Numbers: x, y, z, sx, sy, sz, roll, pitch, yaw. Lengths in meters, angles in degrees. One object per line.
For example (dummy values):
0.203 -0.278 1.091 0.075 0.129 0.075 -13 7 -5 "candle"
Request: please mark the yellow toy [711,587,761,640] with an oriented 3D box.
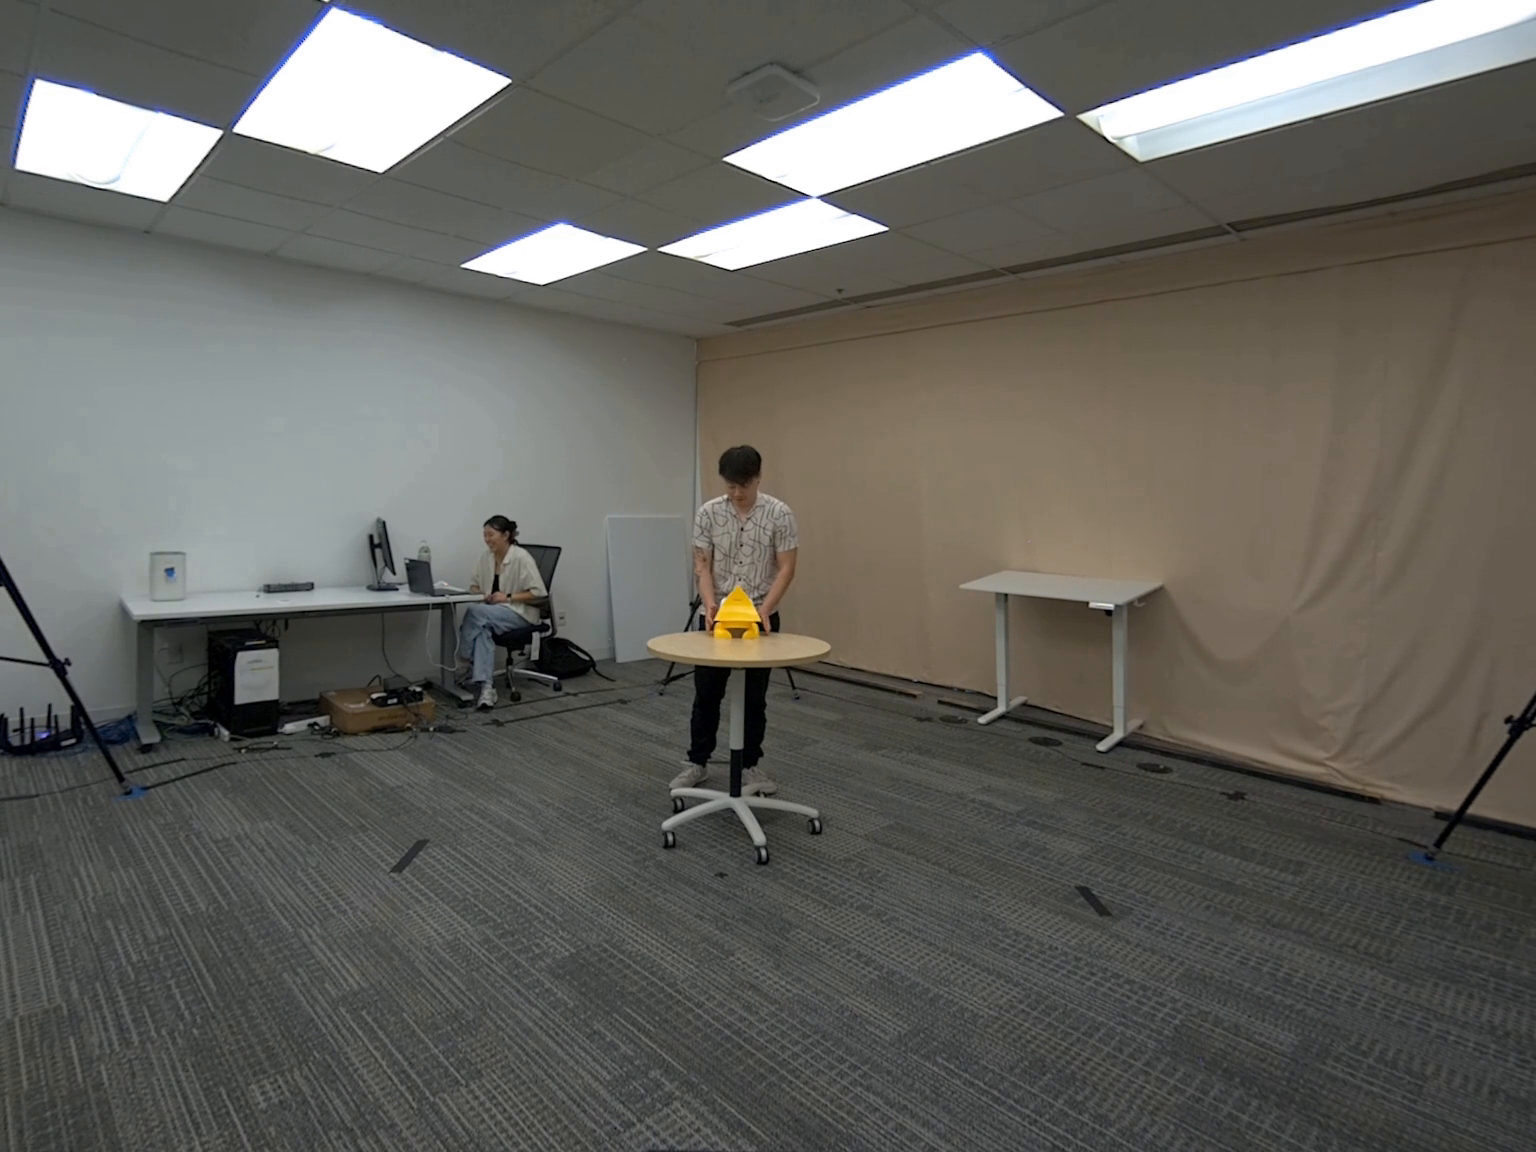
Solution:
-0.150 0.152 3.739 0.204 0.230 0.194 1 3 -4 "yellow toy"
